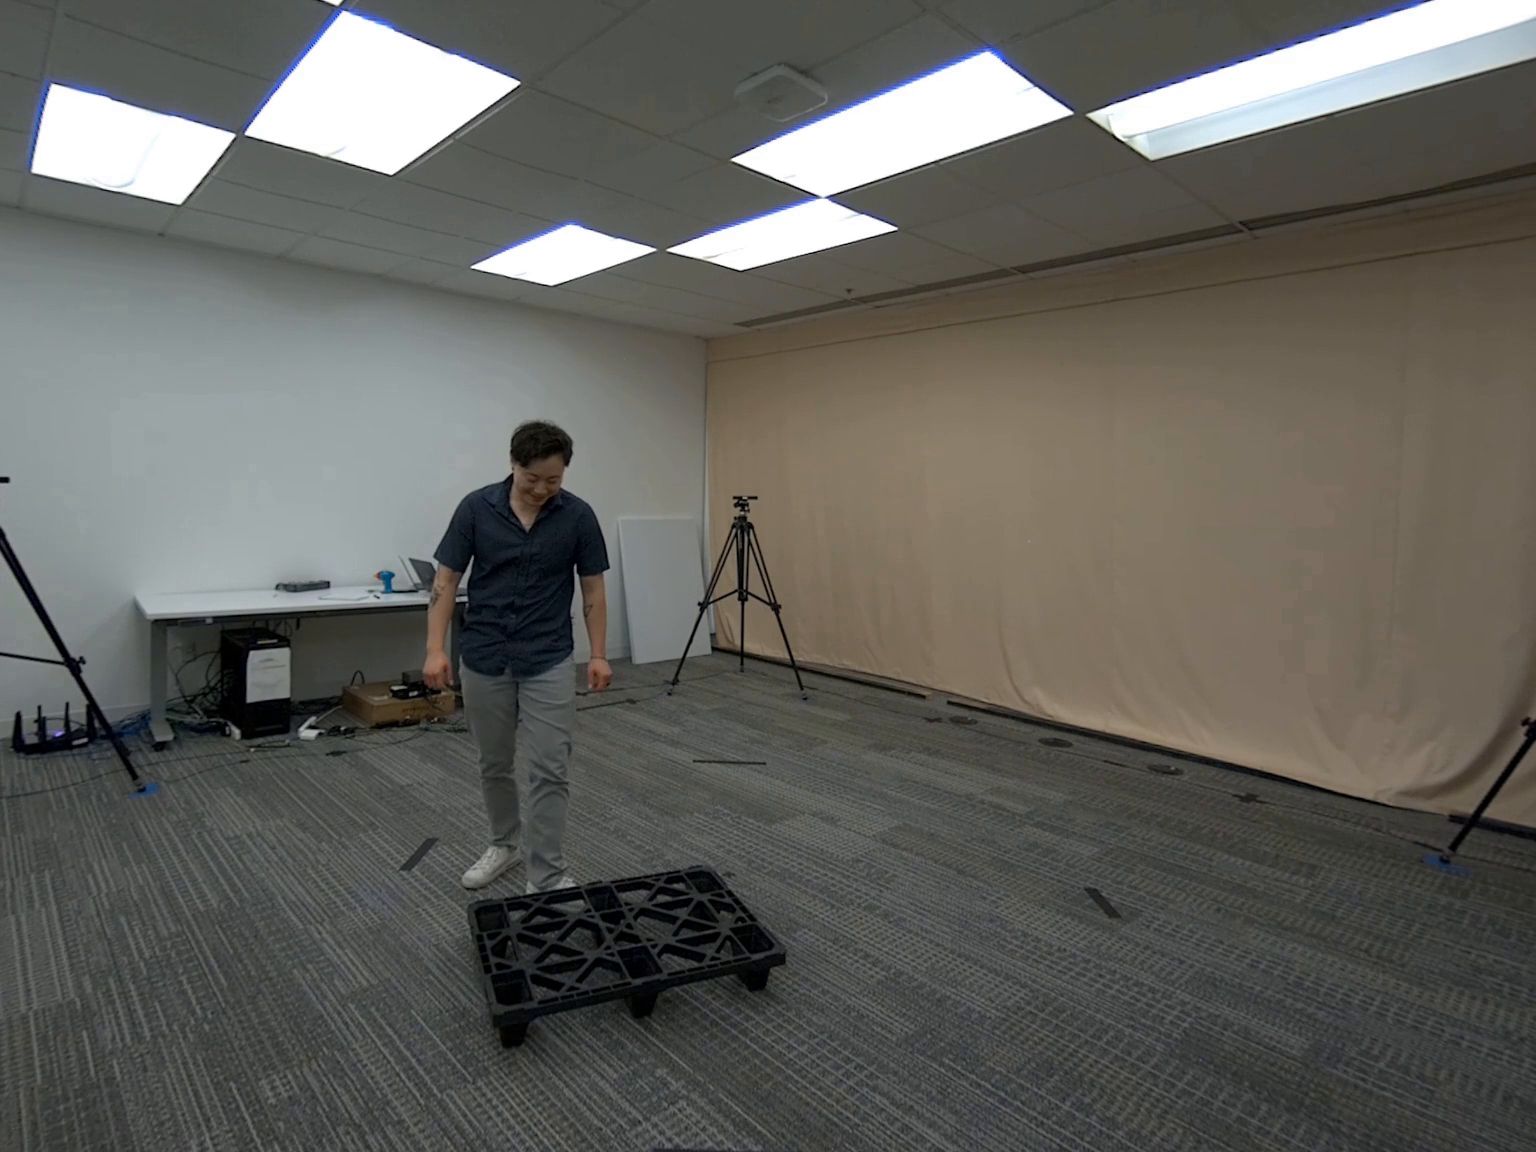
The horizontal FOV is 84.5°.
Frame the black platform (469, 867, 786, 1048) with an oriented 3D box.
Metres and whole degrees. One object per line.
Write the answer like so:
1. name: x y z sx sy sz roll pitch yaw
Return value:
1. black platform: -0.431 1.091 2.450 0.792 0.143 0.618 -2 7 -24
